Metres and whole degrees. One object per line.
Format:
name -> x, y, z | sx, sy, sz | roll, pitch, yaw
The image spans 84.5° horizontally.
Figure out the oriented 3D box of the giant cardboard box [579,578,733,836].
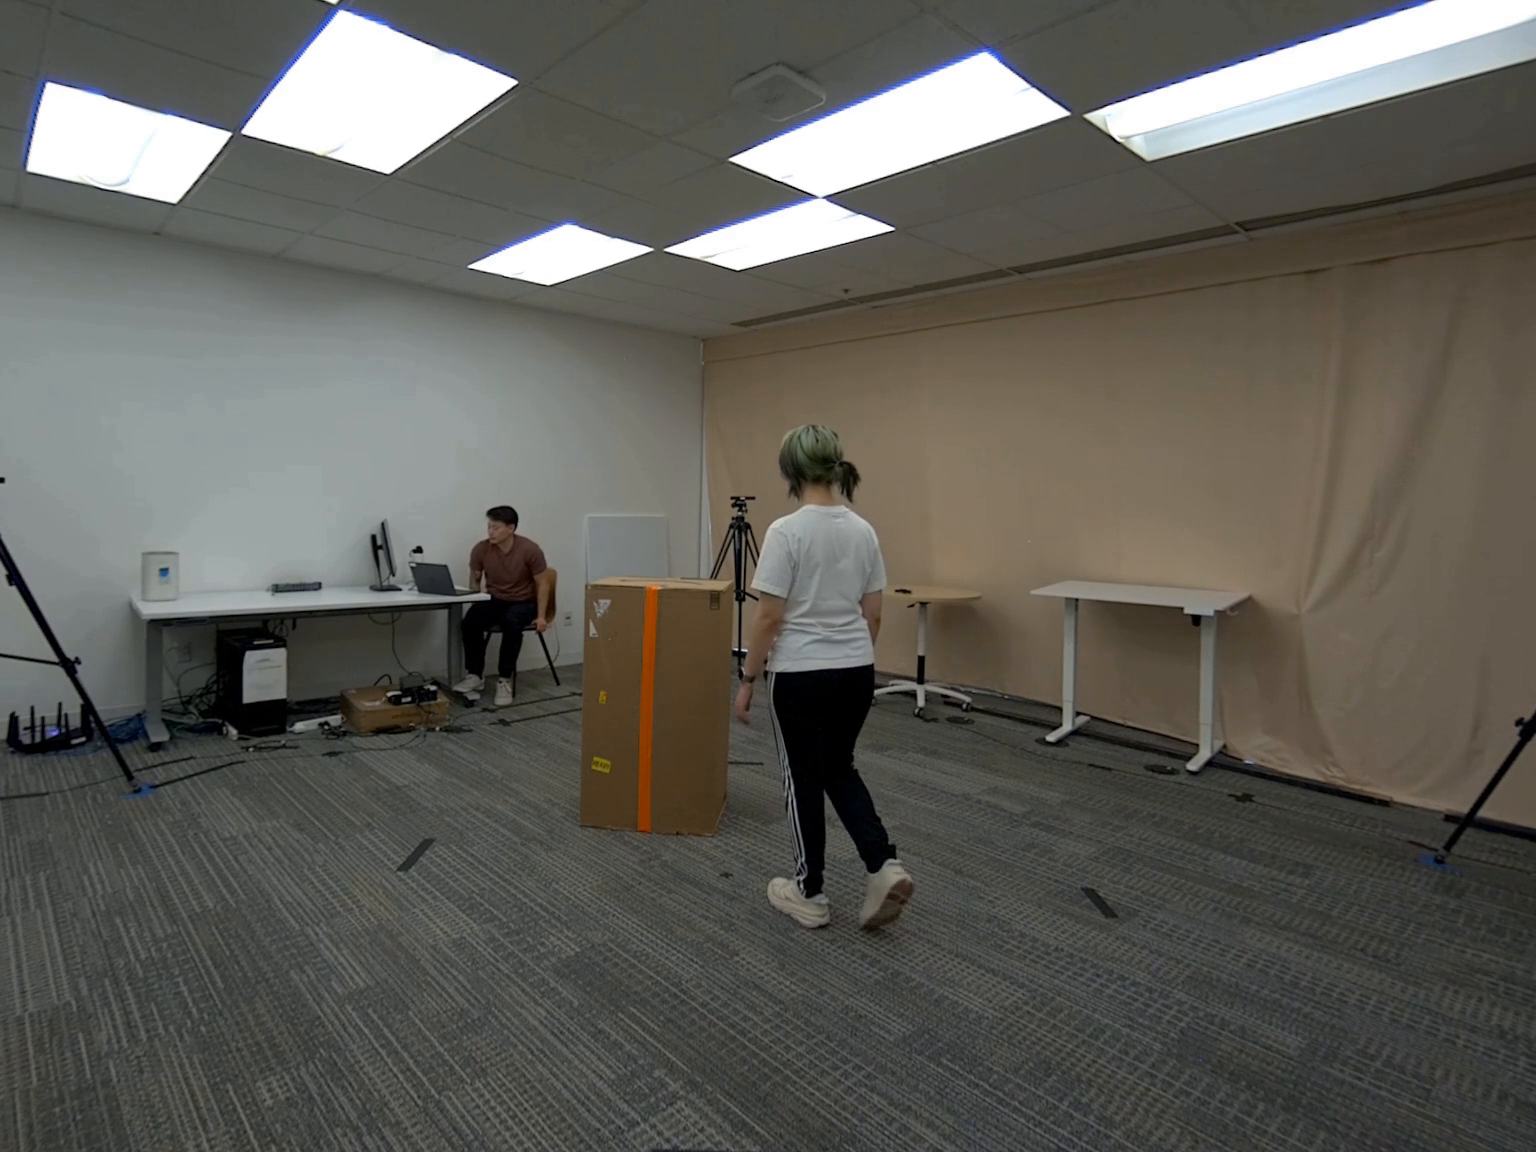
giant cardboard box -> -0.481, 0.537, 3.677 | 0.587, 1.025, 0.445 | 3, 3, 6
